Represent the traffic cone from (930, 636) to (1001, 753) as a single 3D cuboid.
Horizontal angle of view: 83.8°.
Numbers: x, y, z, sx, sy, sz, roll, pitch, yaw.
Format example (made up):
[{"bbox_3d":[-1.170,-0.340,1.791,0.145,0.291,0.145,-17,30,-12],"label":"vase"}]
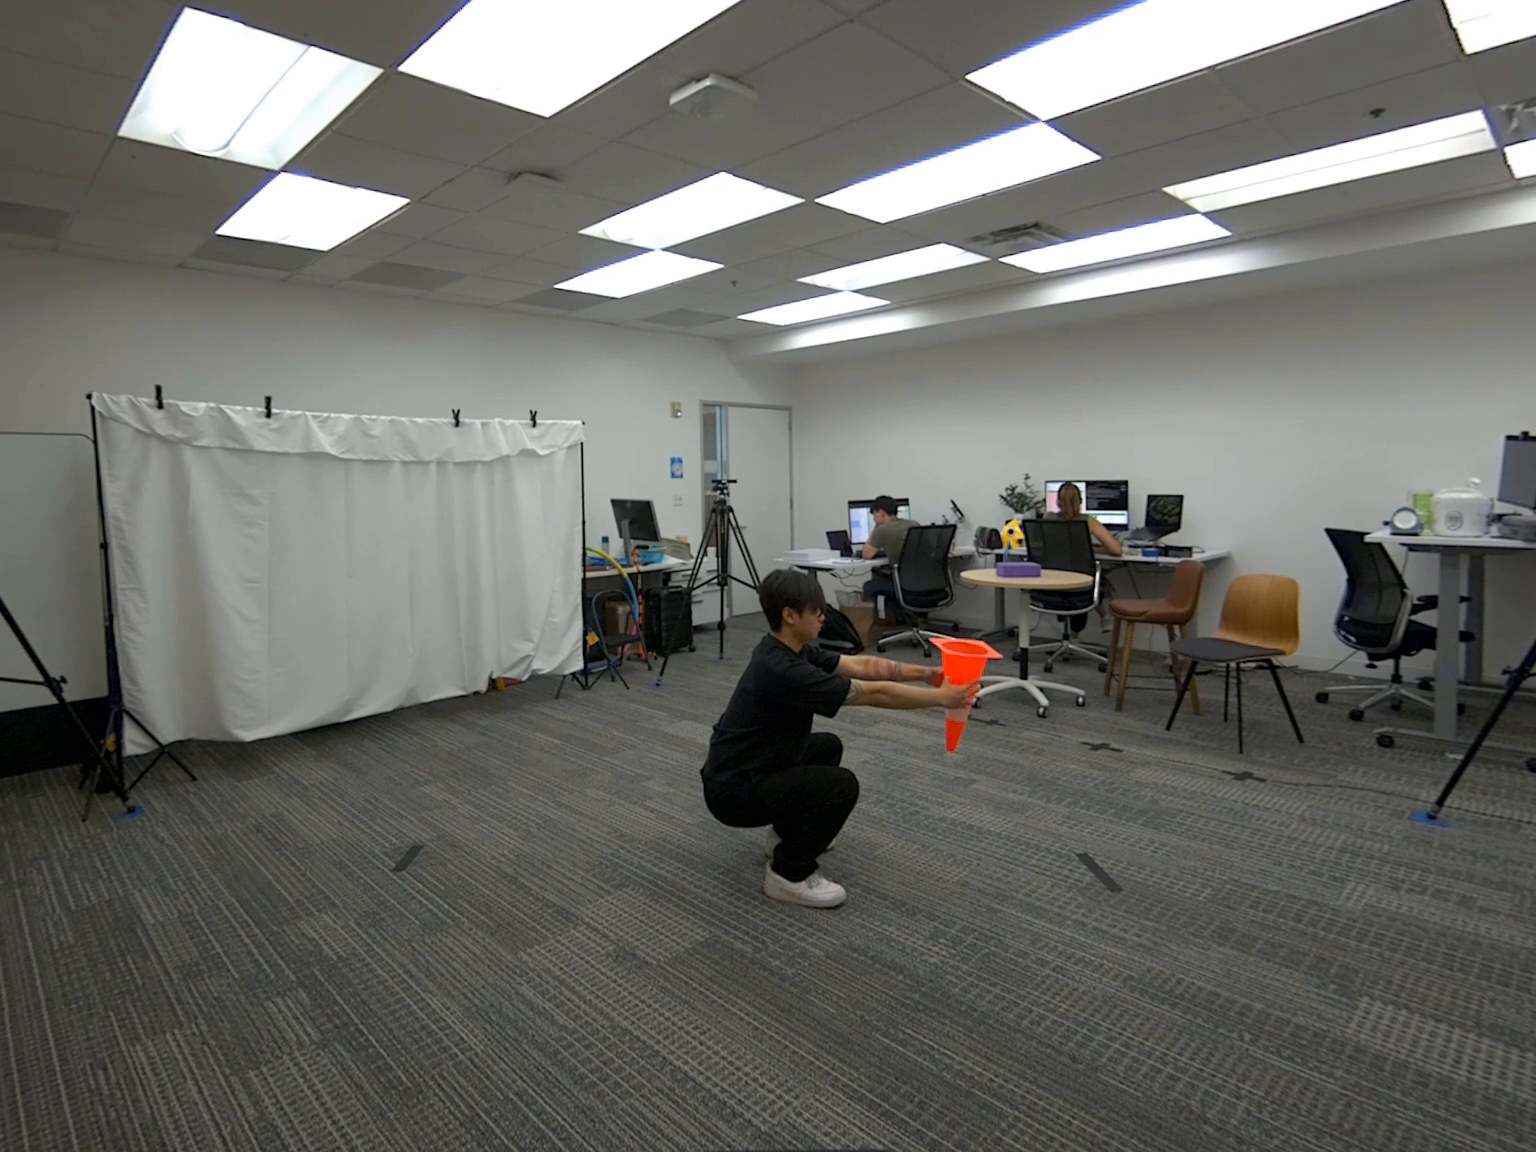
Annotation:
[{"bbox_3d":[0.662,0.433,2.972,0.202,0.381,0.208,4,8,-7],"label":"traffic cone"}]
